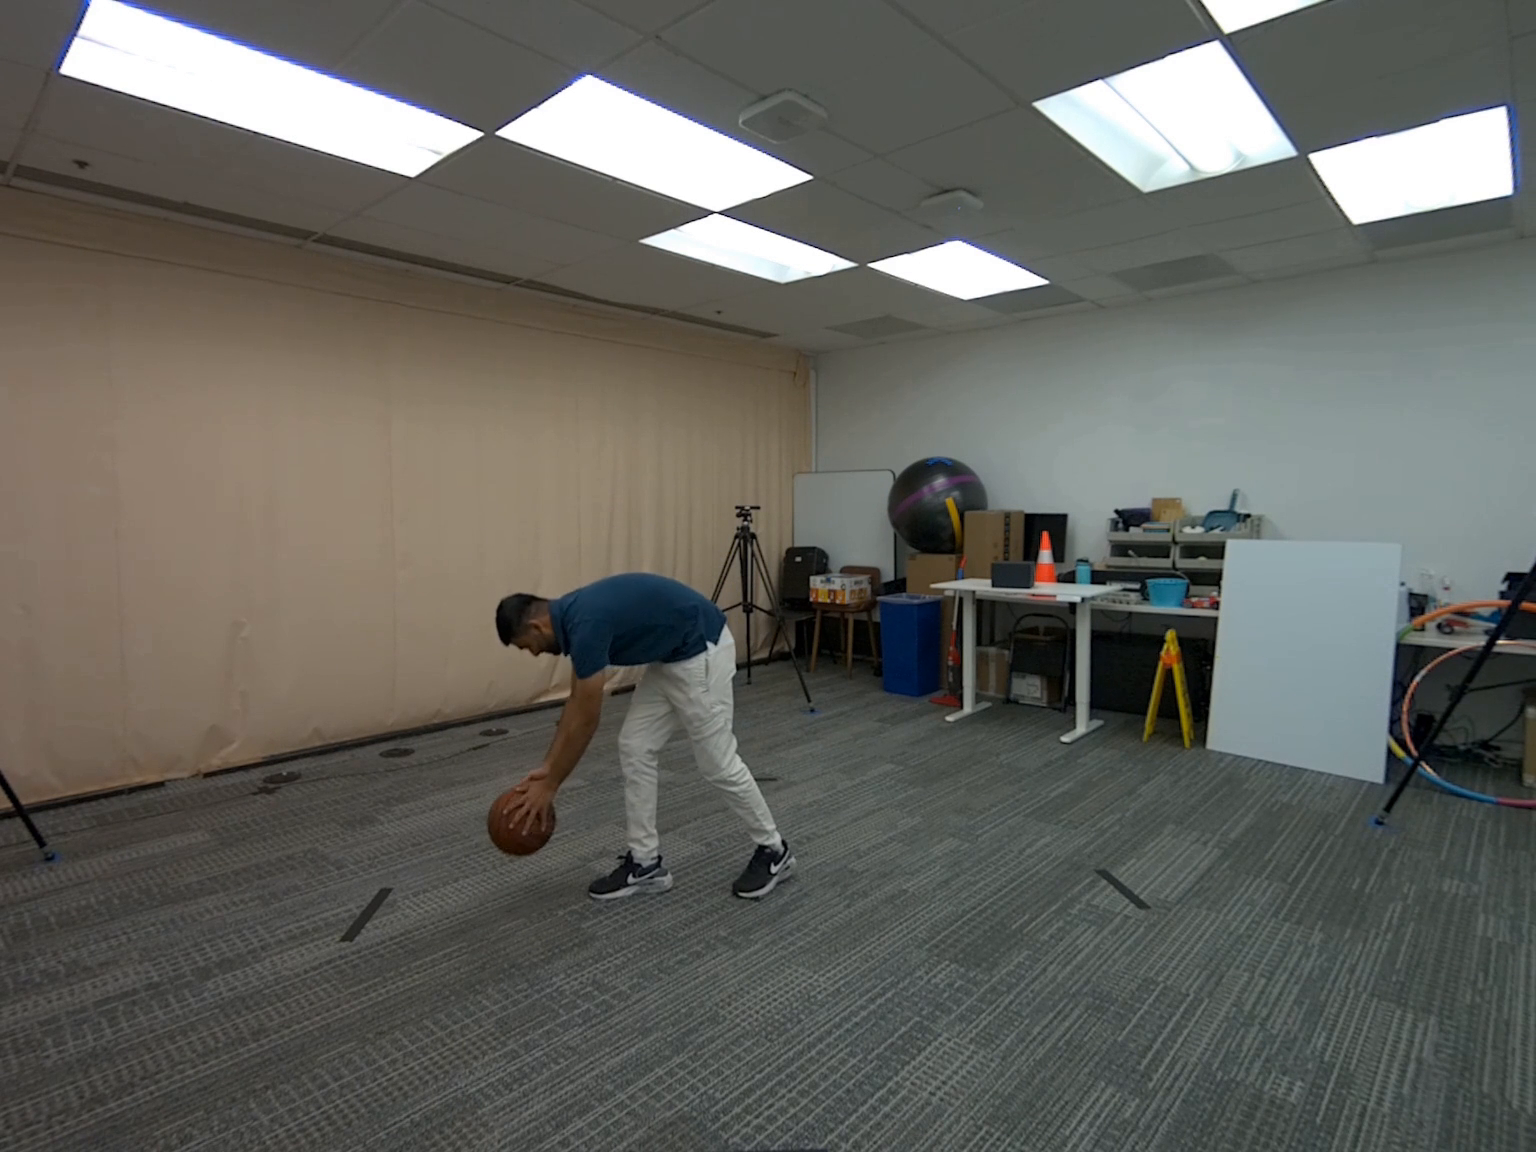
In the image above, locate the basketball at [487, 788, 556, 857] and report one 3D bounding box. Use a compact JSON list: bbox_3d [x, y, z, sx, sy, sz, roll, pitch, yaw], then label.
[{"bbox_3d":[-0.865,0.864,2.995,0.236,0.235,0.237,0,4,-2],"label":"basketball"}]
